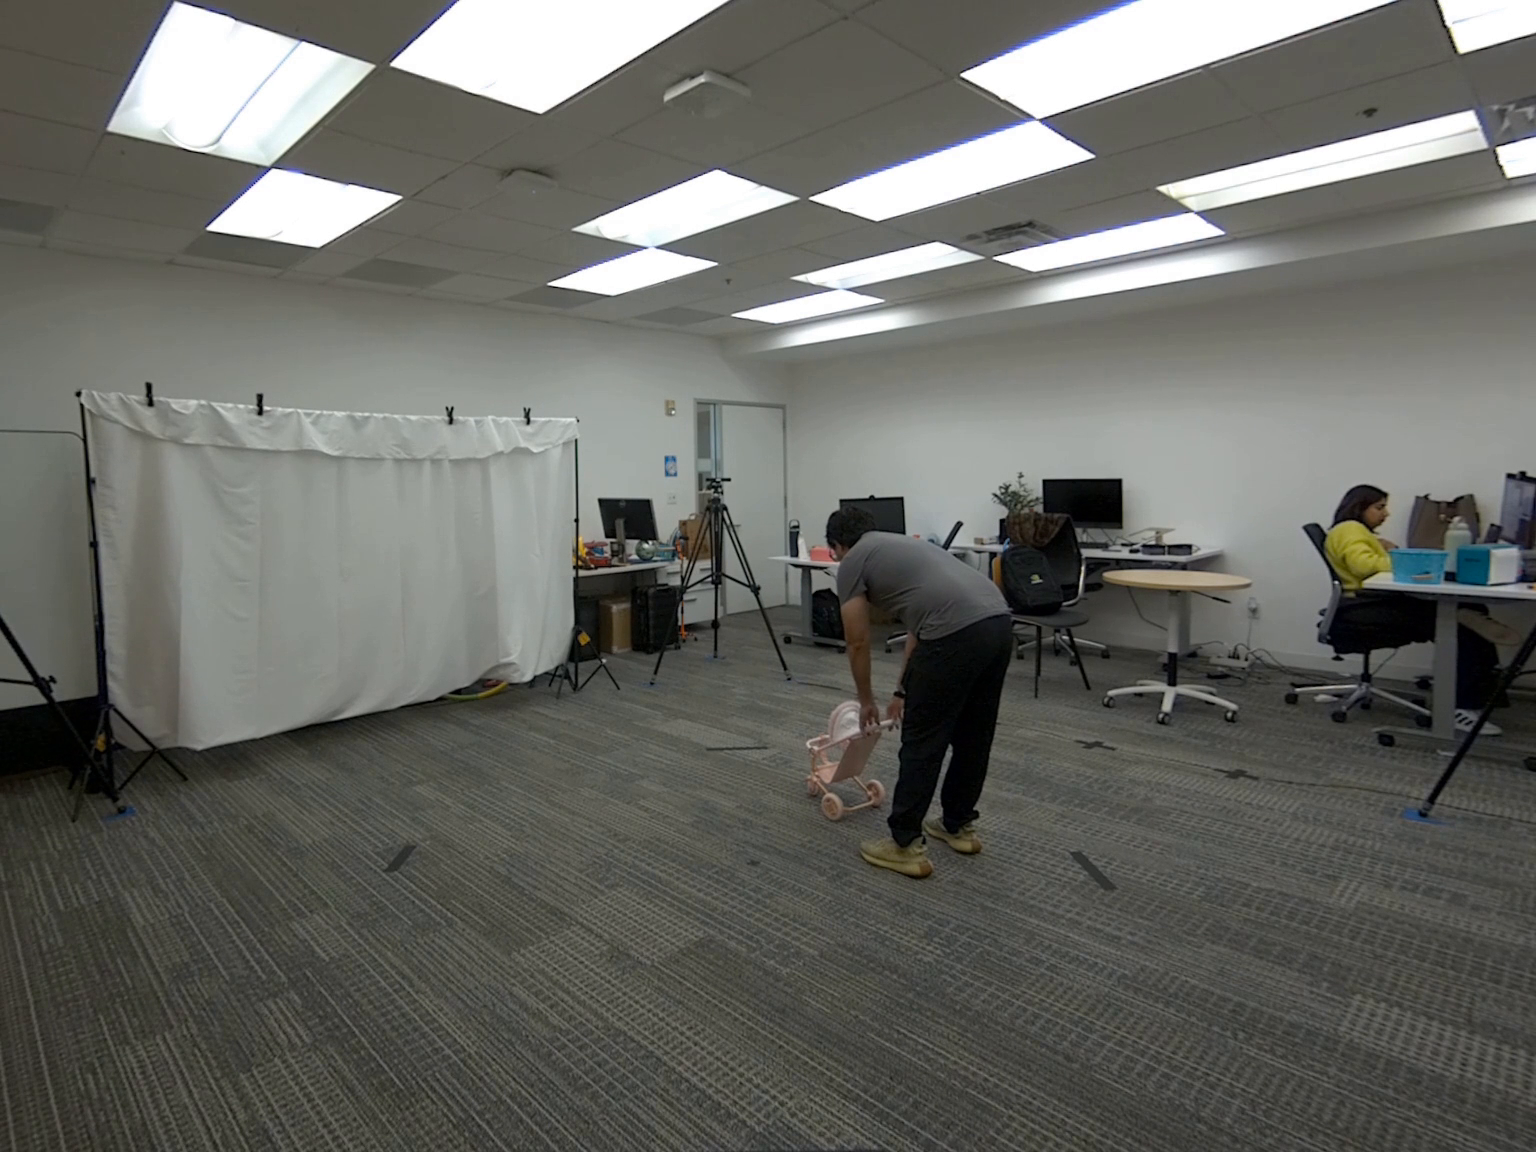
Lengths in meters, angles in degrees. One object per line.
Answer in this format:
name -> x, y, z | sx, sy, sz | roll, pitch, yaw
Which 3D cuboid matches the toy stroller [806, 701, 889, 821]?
toy stroller -> 0.323, 0.758, 3.590 | 0.274, 0.528, 0.354 | -3, 22, -34
